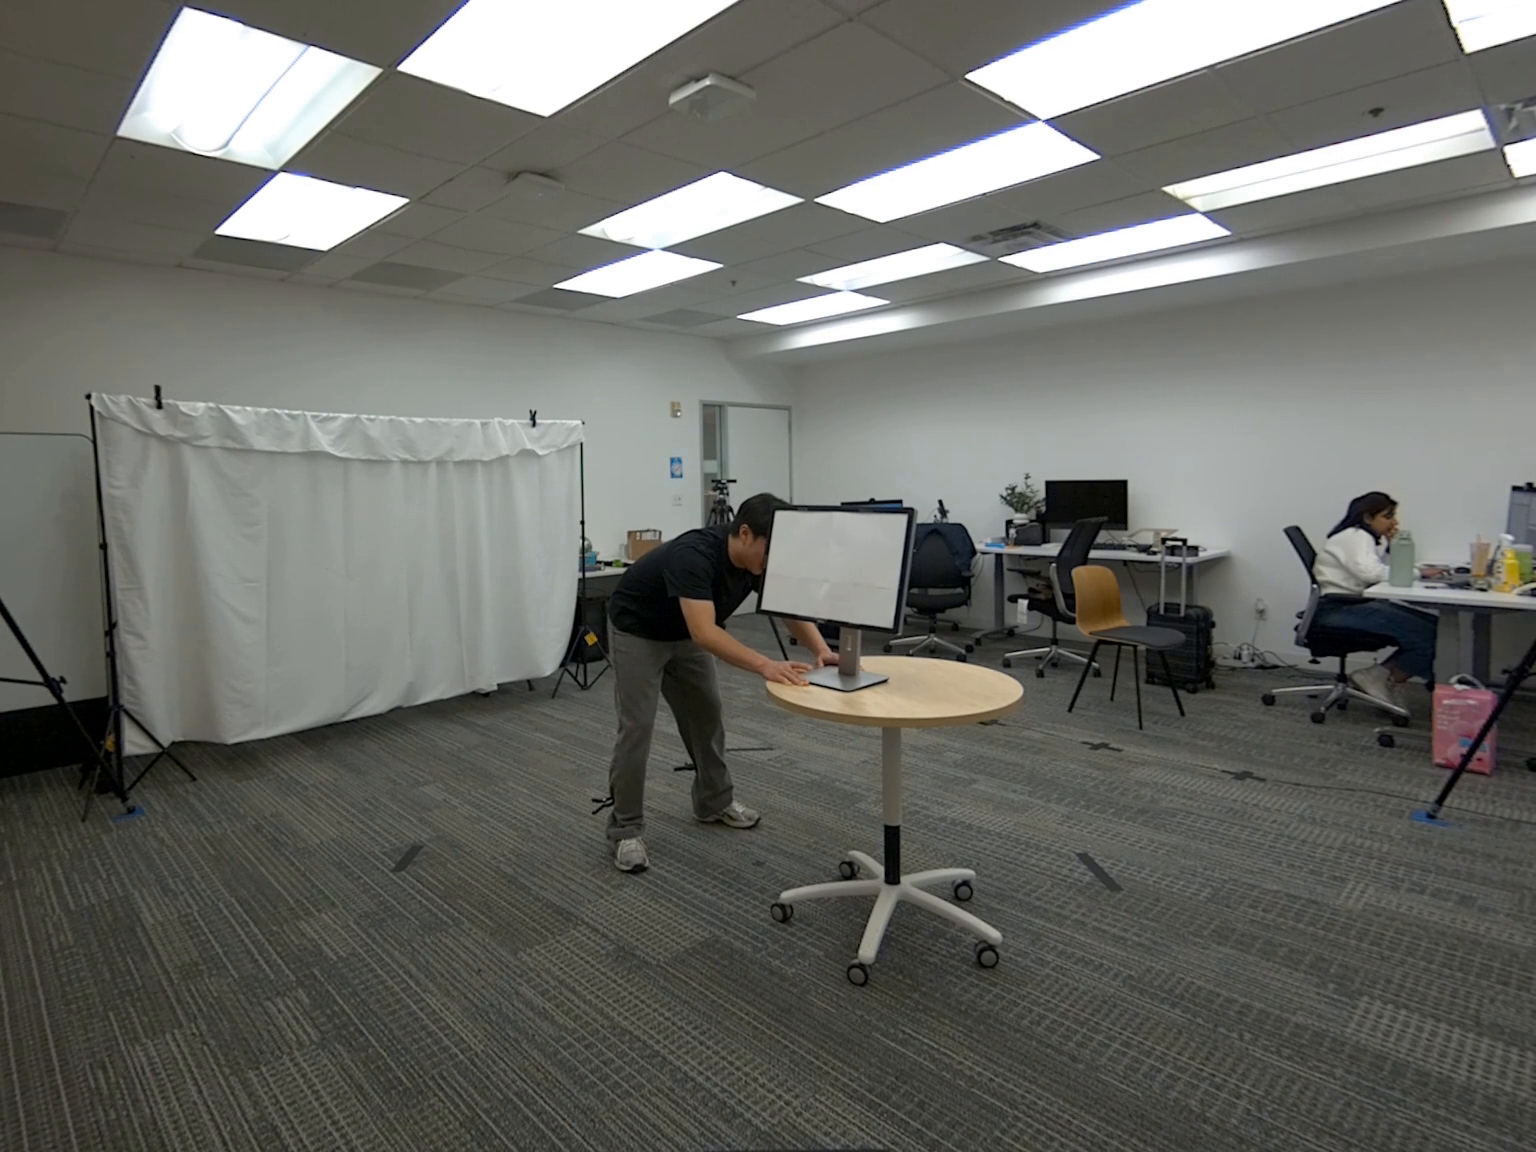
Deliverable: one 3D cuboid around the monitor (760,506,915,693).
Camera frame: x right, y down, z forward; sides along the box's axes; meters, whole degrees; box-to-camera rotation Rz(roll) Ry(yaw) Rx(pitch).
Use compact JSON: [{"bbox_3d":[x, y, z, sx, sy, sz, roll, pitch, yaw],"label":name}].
[{"bbox_3d":[0.241,0.057,2.651,0.204,0.554,0.583,4,0,-45],"label":"monitor"}]
